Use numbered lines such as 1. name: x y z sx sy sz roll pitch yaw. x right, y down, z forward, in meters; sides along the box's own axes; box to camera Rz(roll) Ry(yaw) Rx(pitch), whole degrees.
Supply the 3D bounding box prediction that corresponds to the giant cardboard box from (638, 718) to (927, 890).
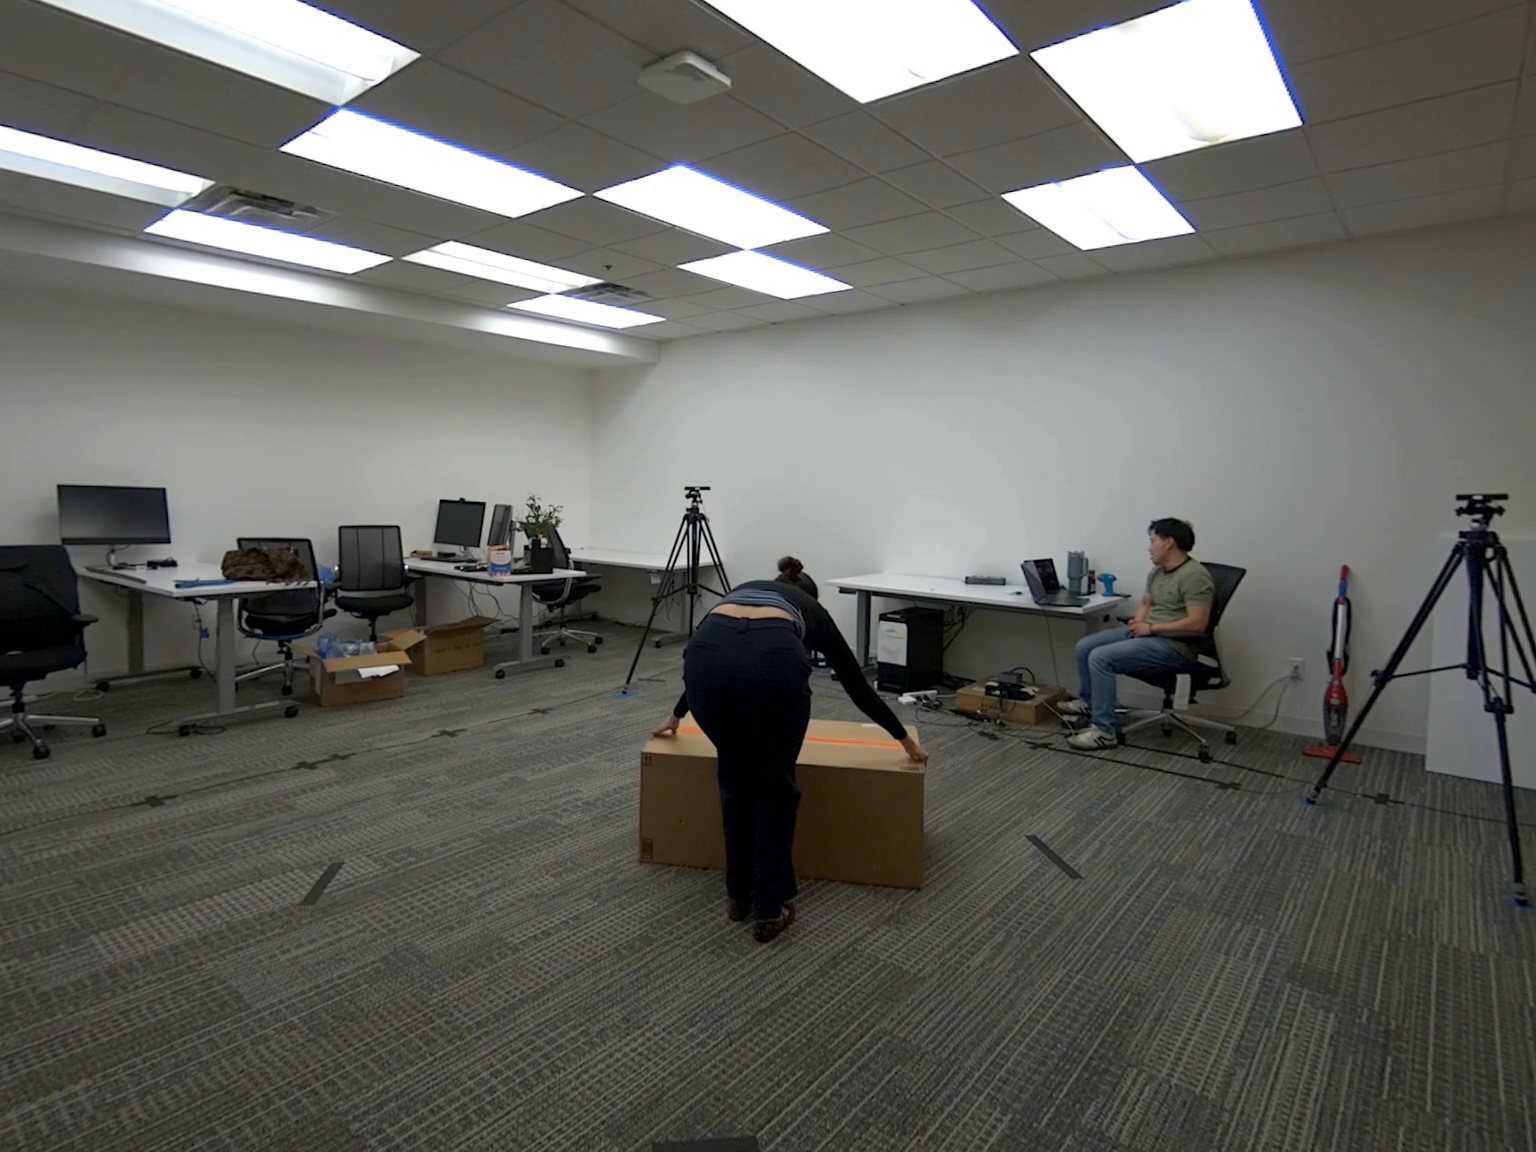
1. giant cardboard box: 0.057 0.830 3.318 1.037 0.425 0.573 2 5 9
